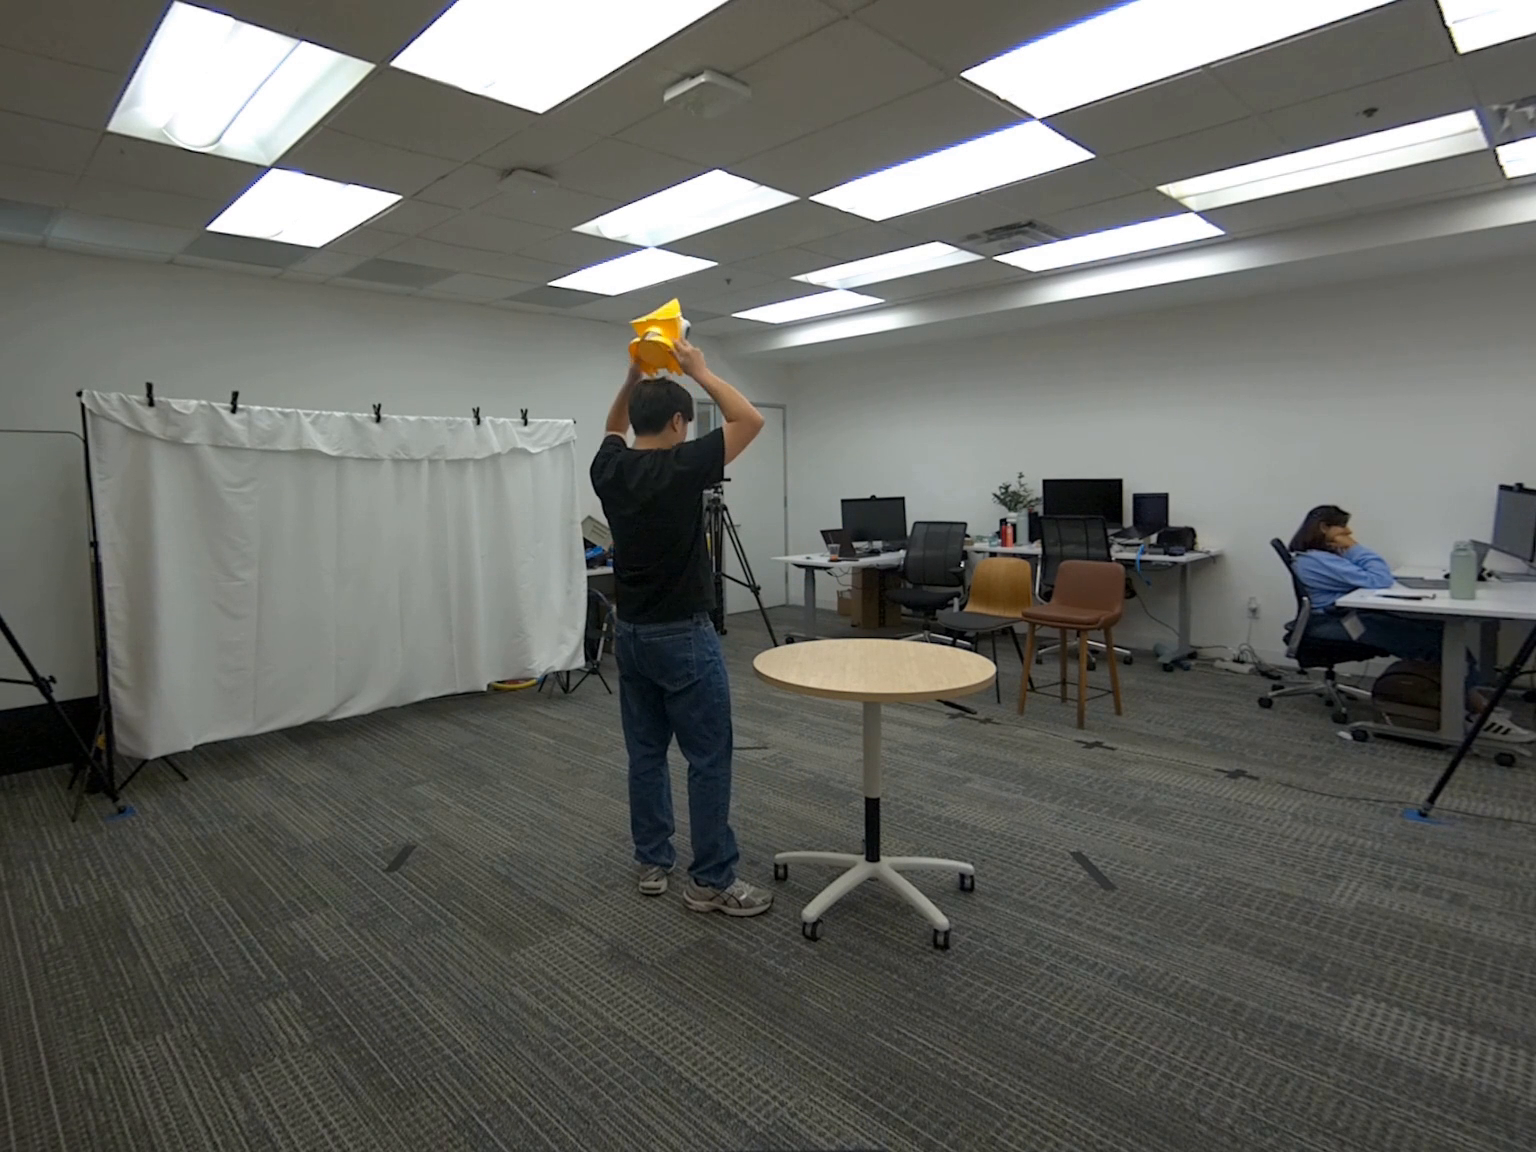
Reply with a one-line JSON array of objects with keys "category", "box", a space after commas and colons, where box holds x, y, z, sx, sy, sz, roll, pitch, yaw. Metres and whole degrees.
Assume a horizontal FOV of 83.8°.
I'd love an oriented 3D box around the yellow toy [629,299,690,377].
[{"category": "yellow toy", "box": [-0.334, -0.806, 2.926, 0.211, 0.233, 0.185, 5, -33, 36]}]
